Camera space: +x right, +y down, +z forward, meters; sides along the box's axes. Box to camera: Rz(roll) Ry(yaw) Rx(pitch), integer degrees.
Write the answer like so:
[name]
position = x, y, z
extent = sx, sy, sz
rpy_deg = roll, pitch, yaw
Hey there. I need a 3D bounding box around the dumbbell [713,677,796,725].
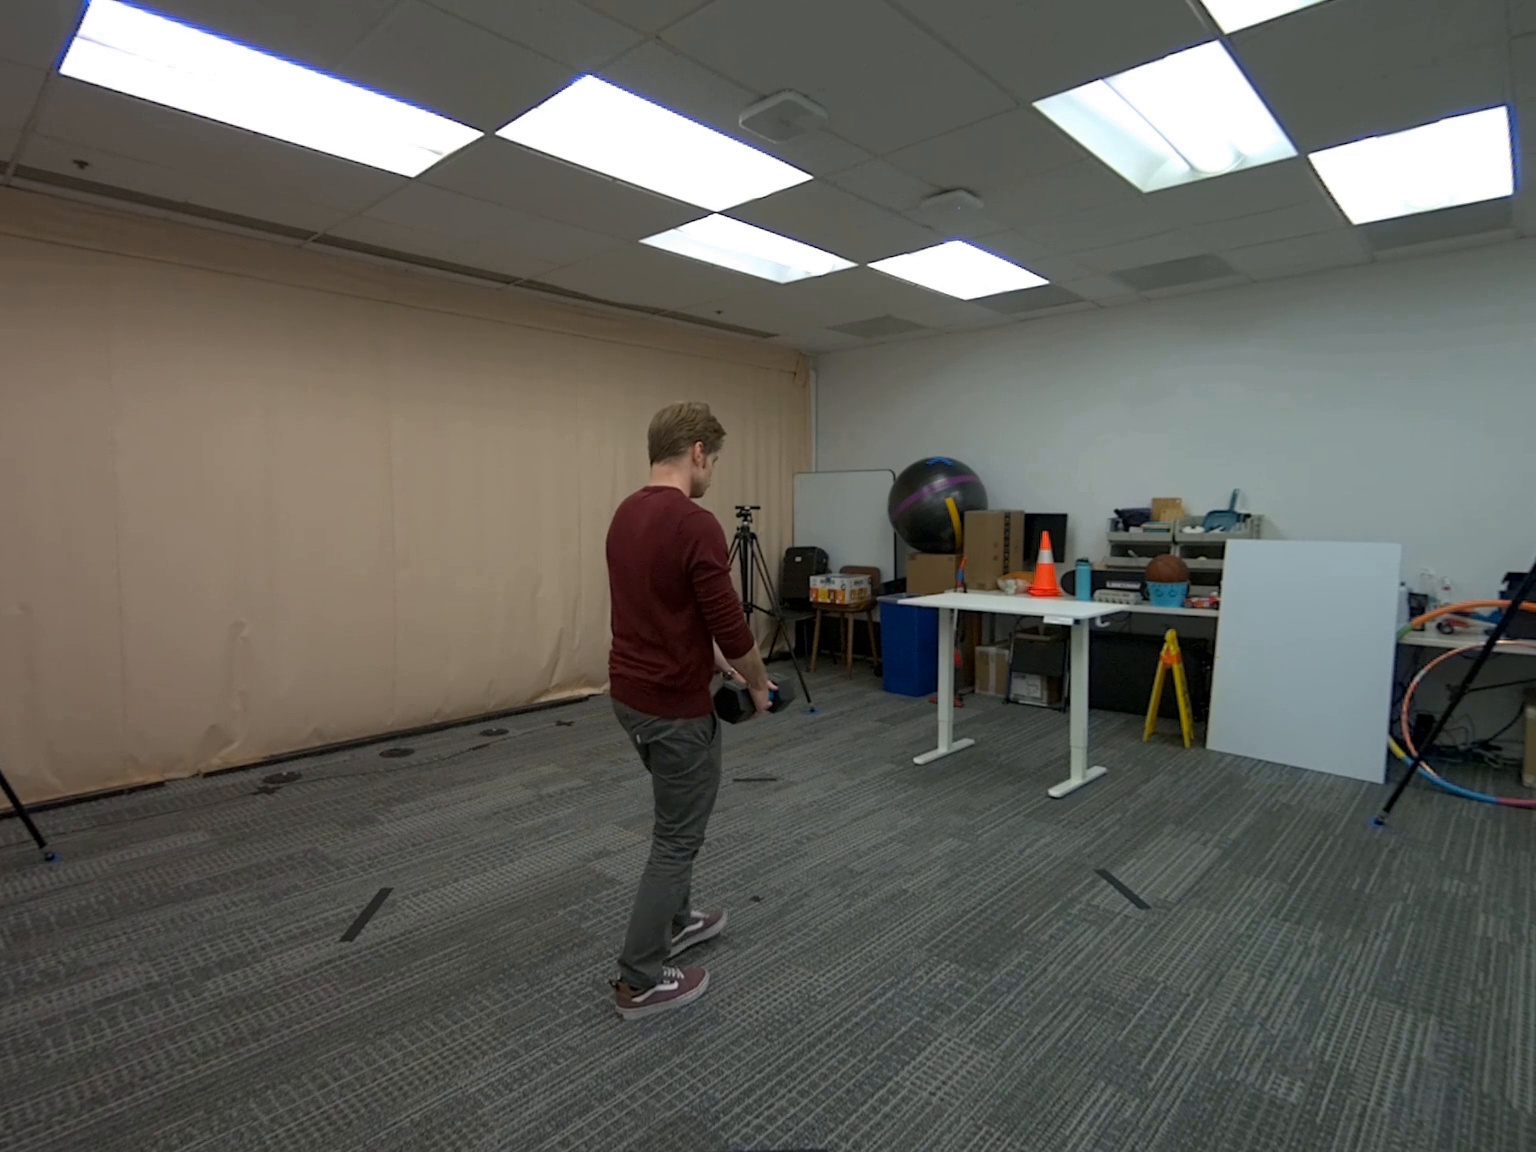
[dumbbell]
position = -0.033, 0.363, 2.509
extent = 0.111, 0.123, 0.285
rpy_deg = 50, 27, 24
